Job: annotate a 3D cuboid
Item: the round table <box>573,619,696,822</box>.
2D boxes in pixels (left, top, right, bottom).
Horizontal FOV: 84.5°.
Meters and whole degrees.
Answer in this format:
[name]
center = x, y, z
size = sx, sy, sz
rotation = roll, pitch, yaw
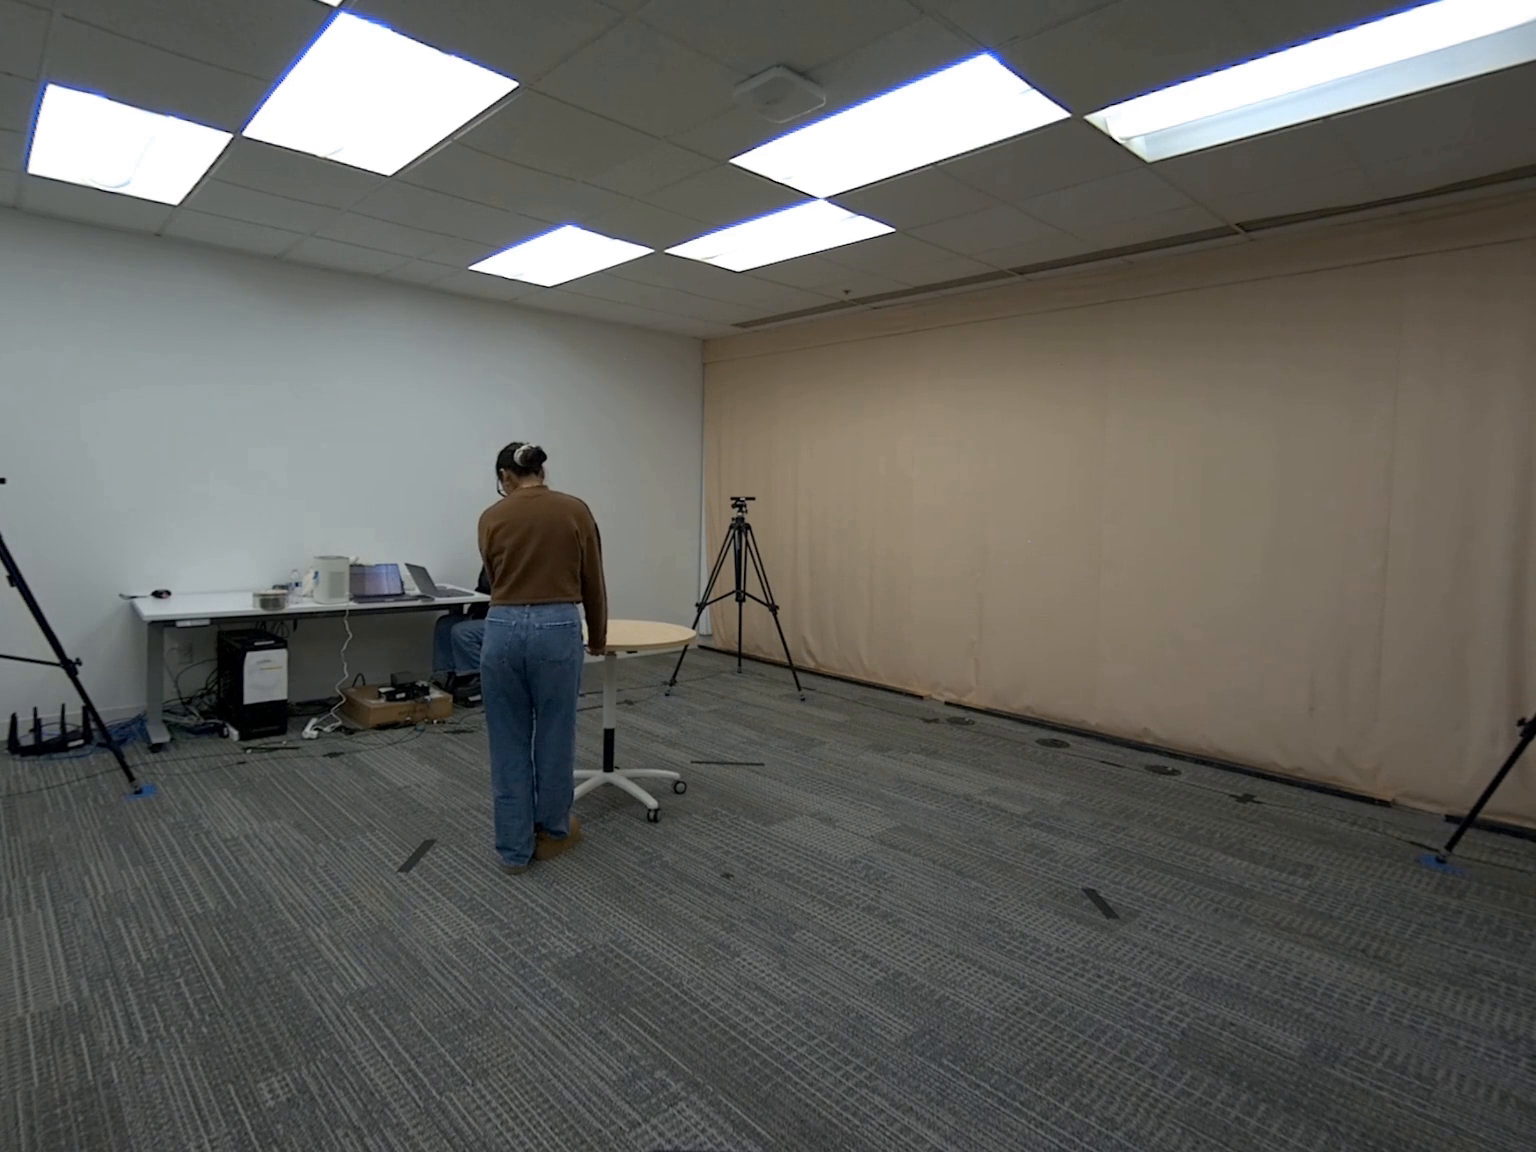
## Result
[round table]
center = -0.723, 0.644, 3.817
size = 0.763, 0.792, 0.766
rotation = 2, 3, -1
